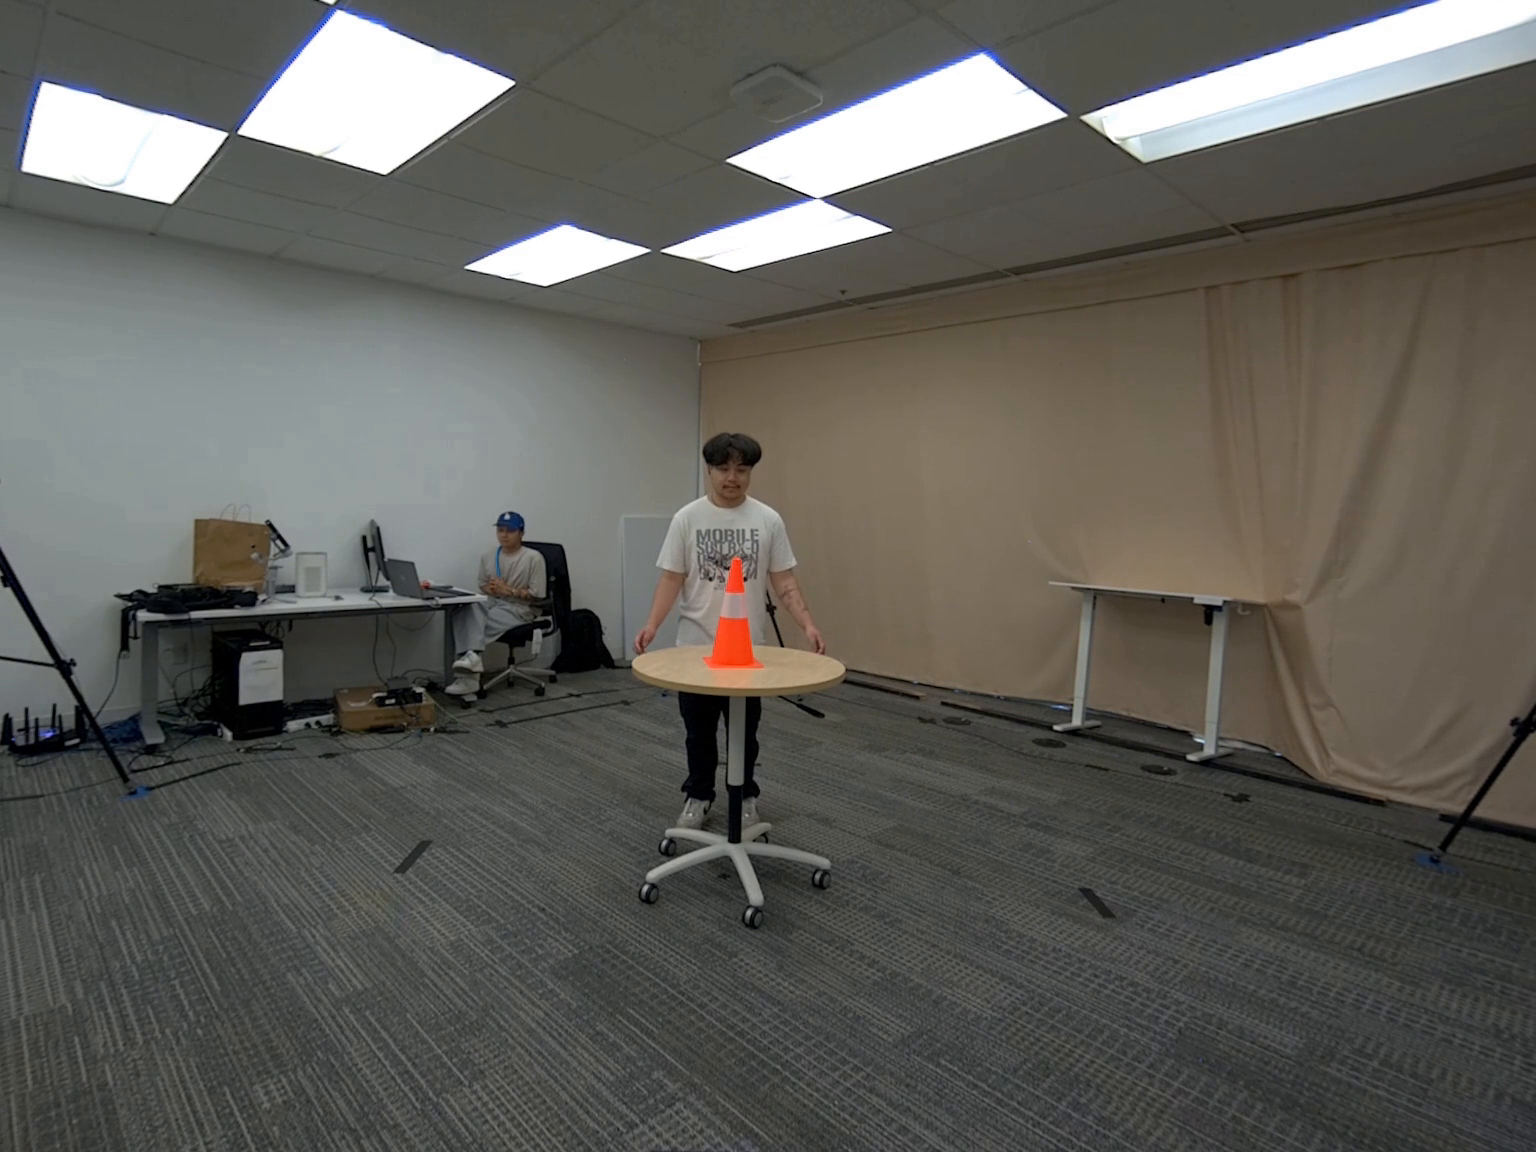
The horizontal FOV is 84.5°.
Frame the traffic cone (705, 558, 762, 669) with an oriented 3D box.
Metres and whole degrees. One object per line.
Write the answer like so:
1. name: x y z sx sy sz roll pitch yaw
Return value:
1. traffic cone: -0.128 0.127 3.044 0.210 0.382 0.199 7 7 34
